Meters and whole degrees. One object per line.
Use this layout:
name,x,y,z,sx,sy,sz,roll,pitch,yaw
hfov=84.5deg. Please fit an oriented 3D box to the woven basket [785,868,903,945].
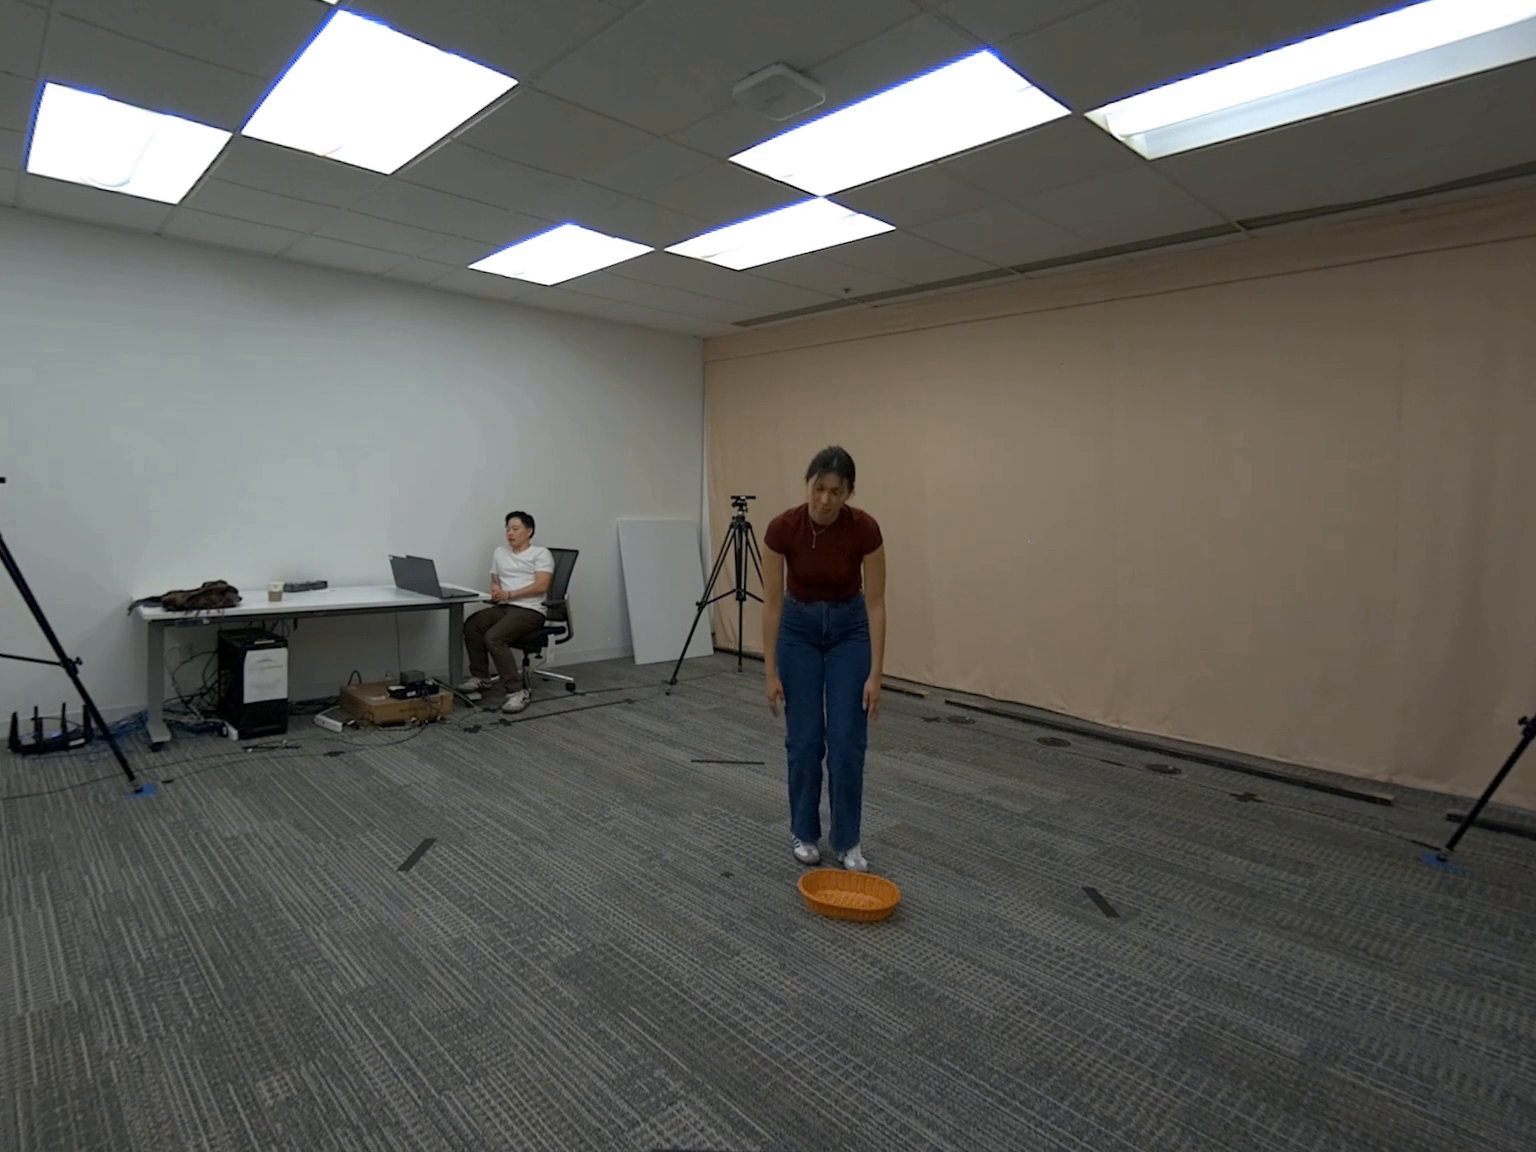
woven basket,0.260,1.108,2.861,0.355,0.073,0.250,3,8,17
